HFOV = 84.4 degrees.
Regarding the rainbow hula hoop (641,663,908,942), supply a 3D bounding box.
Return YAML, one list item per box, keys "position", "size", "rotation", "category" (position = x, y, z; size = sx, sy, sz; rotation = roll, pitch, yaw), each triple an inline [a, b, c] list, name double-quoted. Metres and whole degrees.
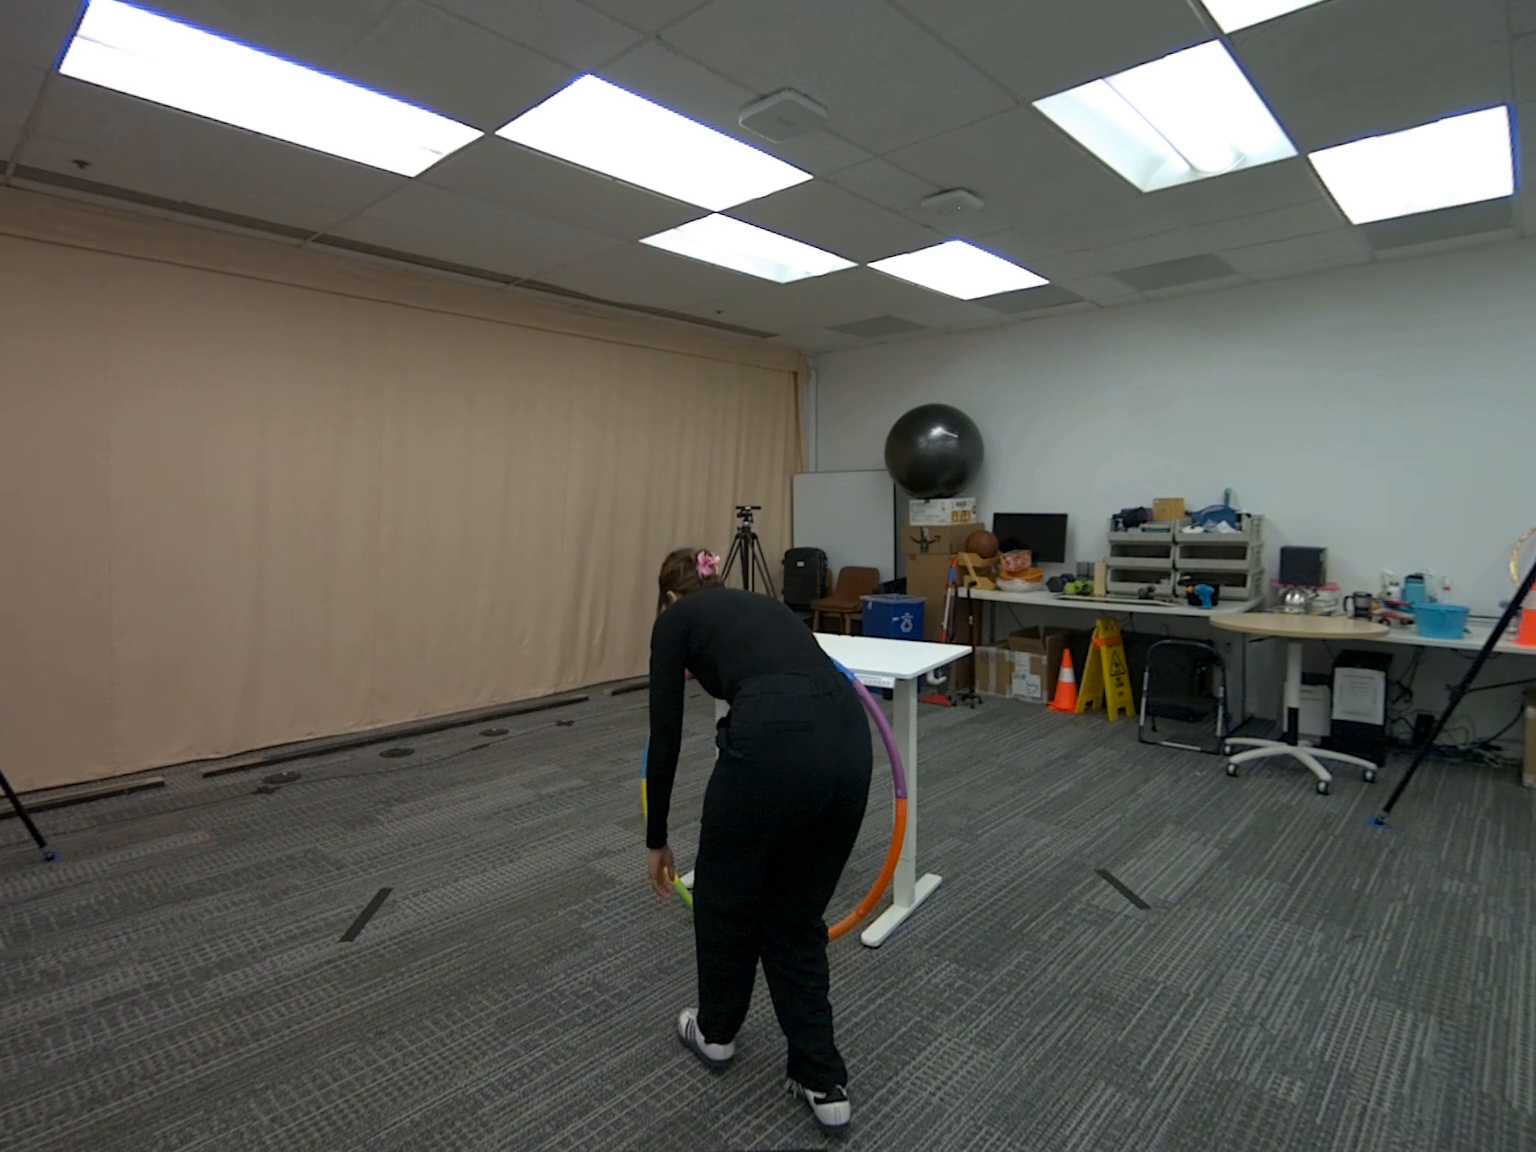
- position: [-0.020, 0.687, 2.722]
  size: [1.009, 0.982, 0.034]
  rotation: [2, -8, 34]
  category: "rainbow hula hoop"
